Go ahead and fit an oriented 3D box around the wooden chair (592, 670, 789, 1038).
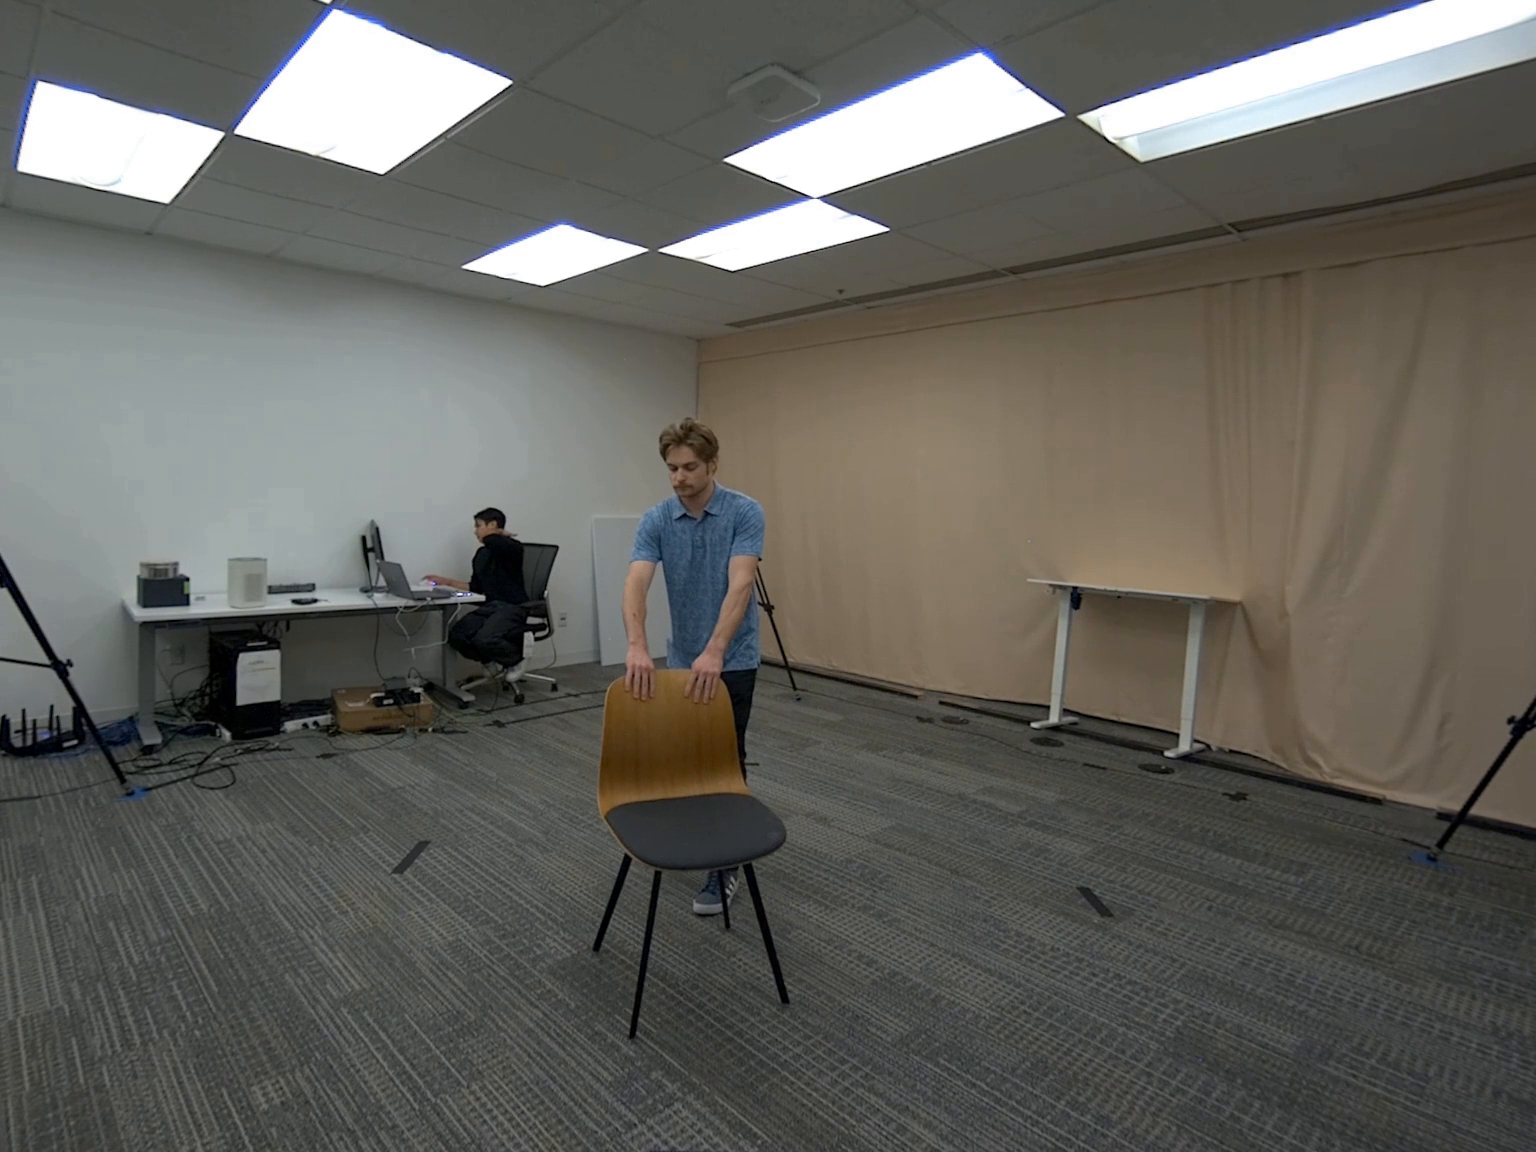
[{"bbox_3d":[-0.237,0.740,2.406,0.470,0.878,0.532,0,-1,-24],"label":"wooden chair"}]
